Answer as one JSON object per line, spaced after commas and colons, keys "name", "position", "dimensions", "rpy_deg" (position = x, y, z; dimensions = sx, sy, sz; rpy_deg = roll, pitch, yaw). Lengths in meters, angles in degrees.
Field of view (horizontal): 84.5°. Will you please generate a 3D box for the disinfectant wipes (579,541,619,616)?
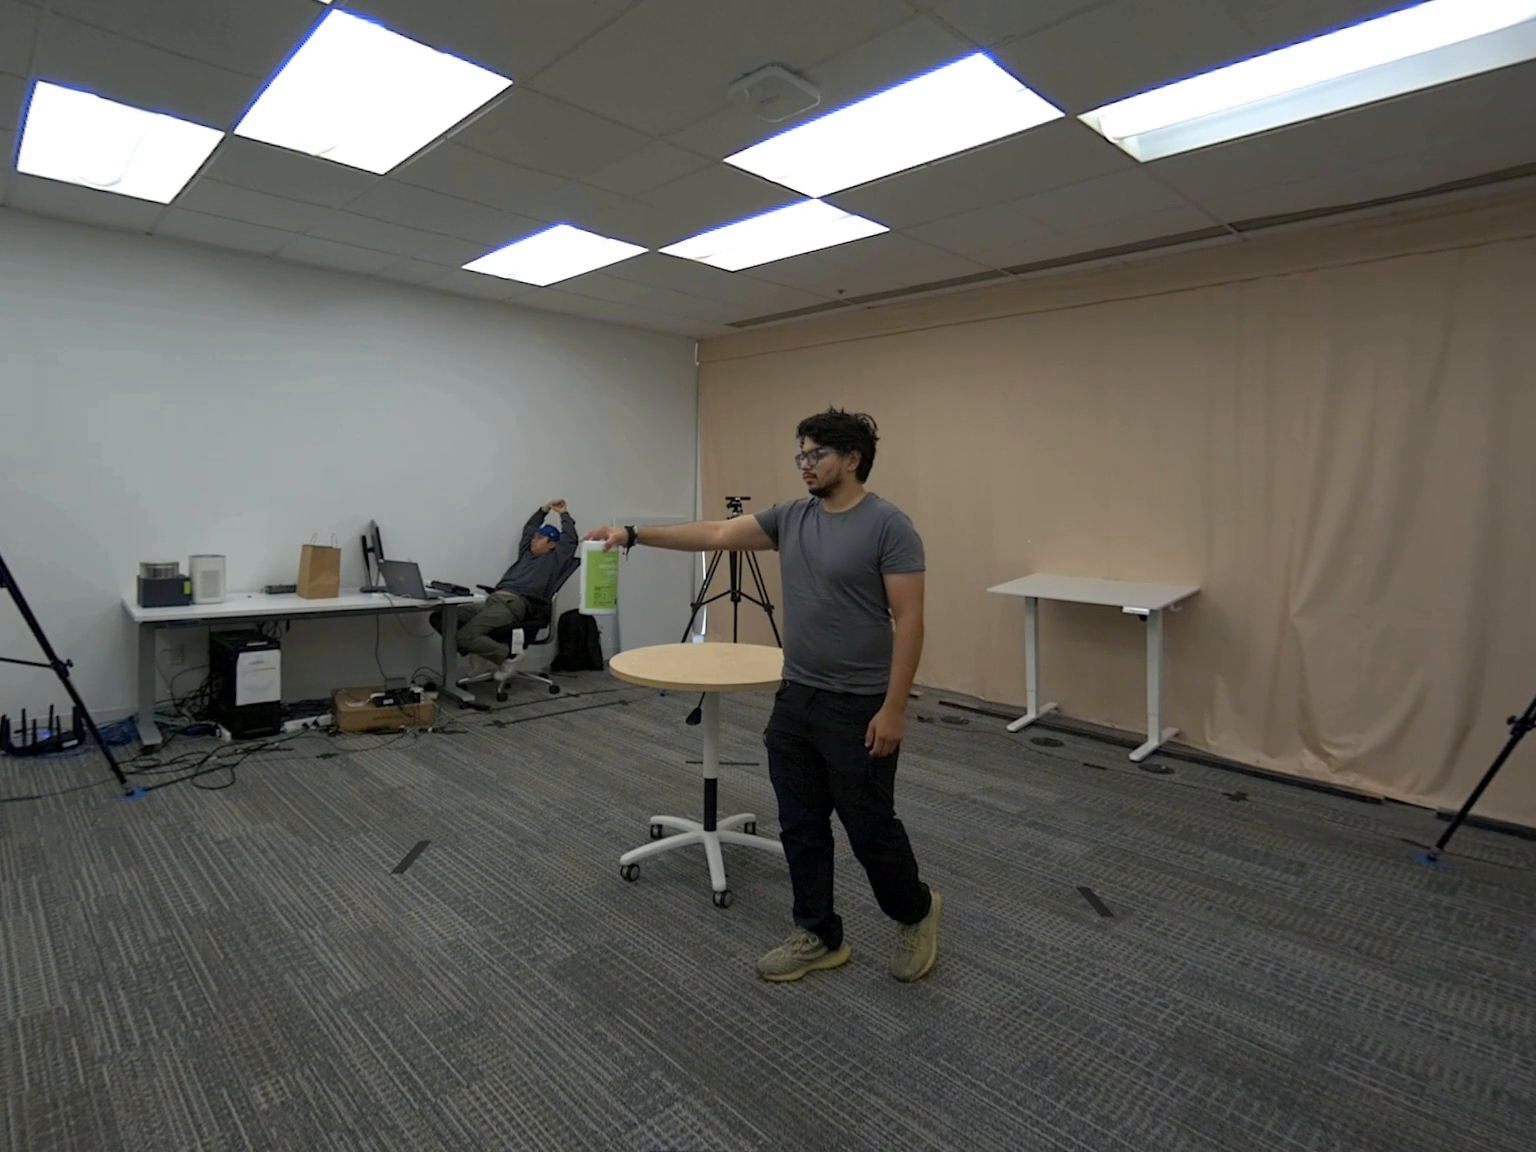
{"name": "disinfectant wipes", "position": [-0.491, 0.009, 2.469], "dimensions": [0.118, 0.217, 0.118], "rpy_deg": [3, 3, -2]}
